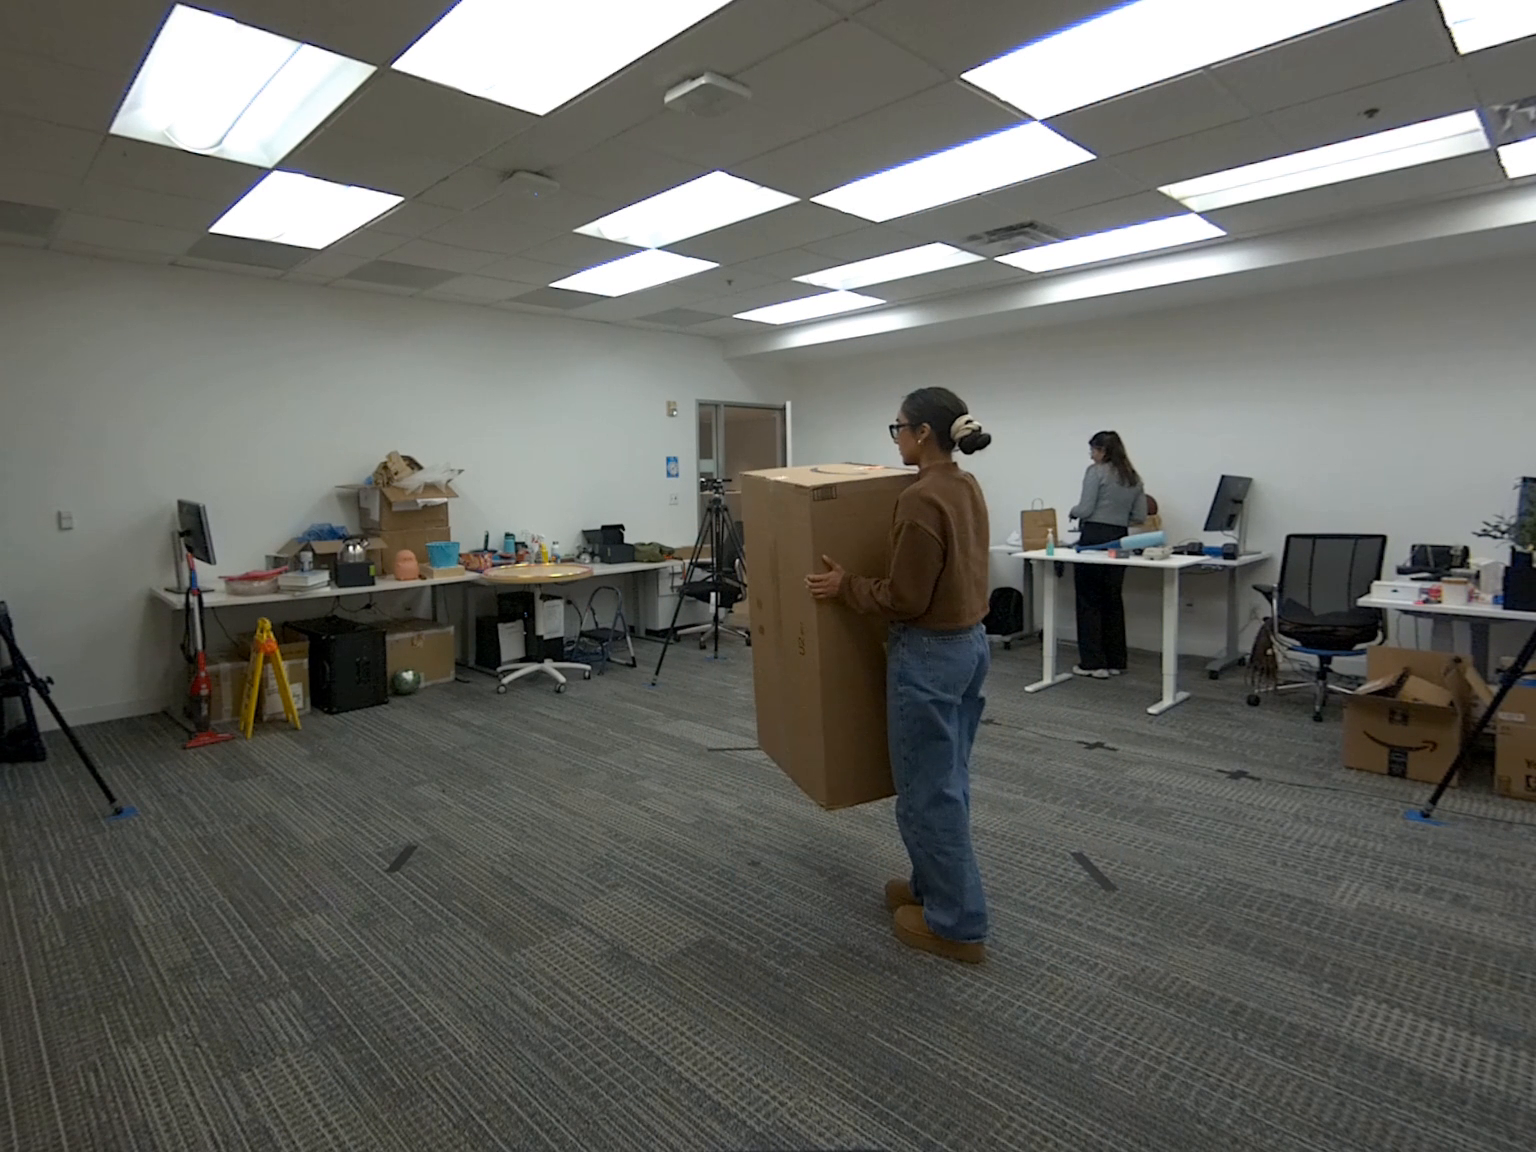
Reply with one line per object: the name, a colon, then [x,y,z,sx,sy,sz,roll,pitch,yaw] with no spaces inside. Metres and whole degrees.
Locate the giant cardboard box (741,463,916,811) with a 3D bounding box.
giant cardboard box: [0.235,0.163,2.905,0.419,1.017,0.592,-7,10,-21]
